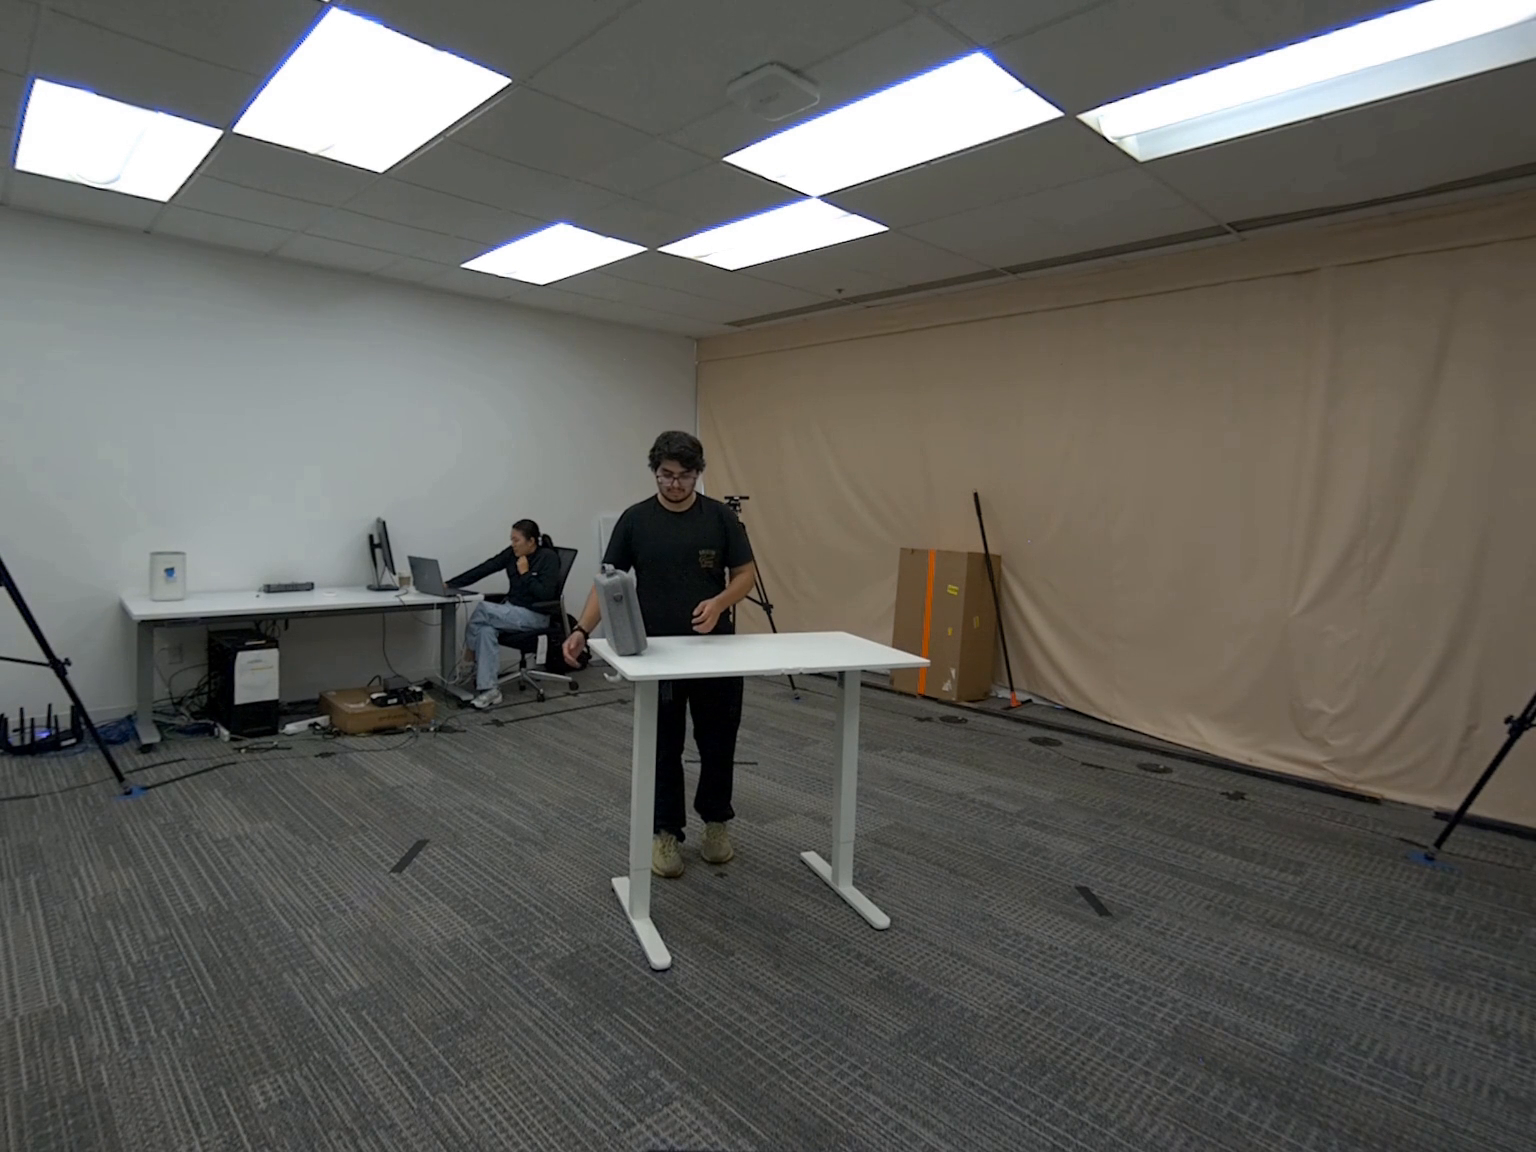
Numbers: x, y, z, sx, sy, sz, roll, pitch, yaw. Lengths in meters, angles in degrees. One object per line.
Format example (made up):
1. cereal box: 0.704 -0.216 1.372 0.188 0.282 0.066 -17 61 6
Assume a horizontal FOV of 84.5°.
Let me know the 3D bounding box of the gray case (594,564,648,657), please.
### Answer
1. gray case: -0.497 0.119 2.731 0.103 0.259 0.261 -10 8 -16
